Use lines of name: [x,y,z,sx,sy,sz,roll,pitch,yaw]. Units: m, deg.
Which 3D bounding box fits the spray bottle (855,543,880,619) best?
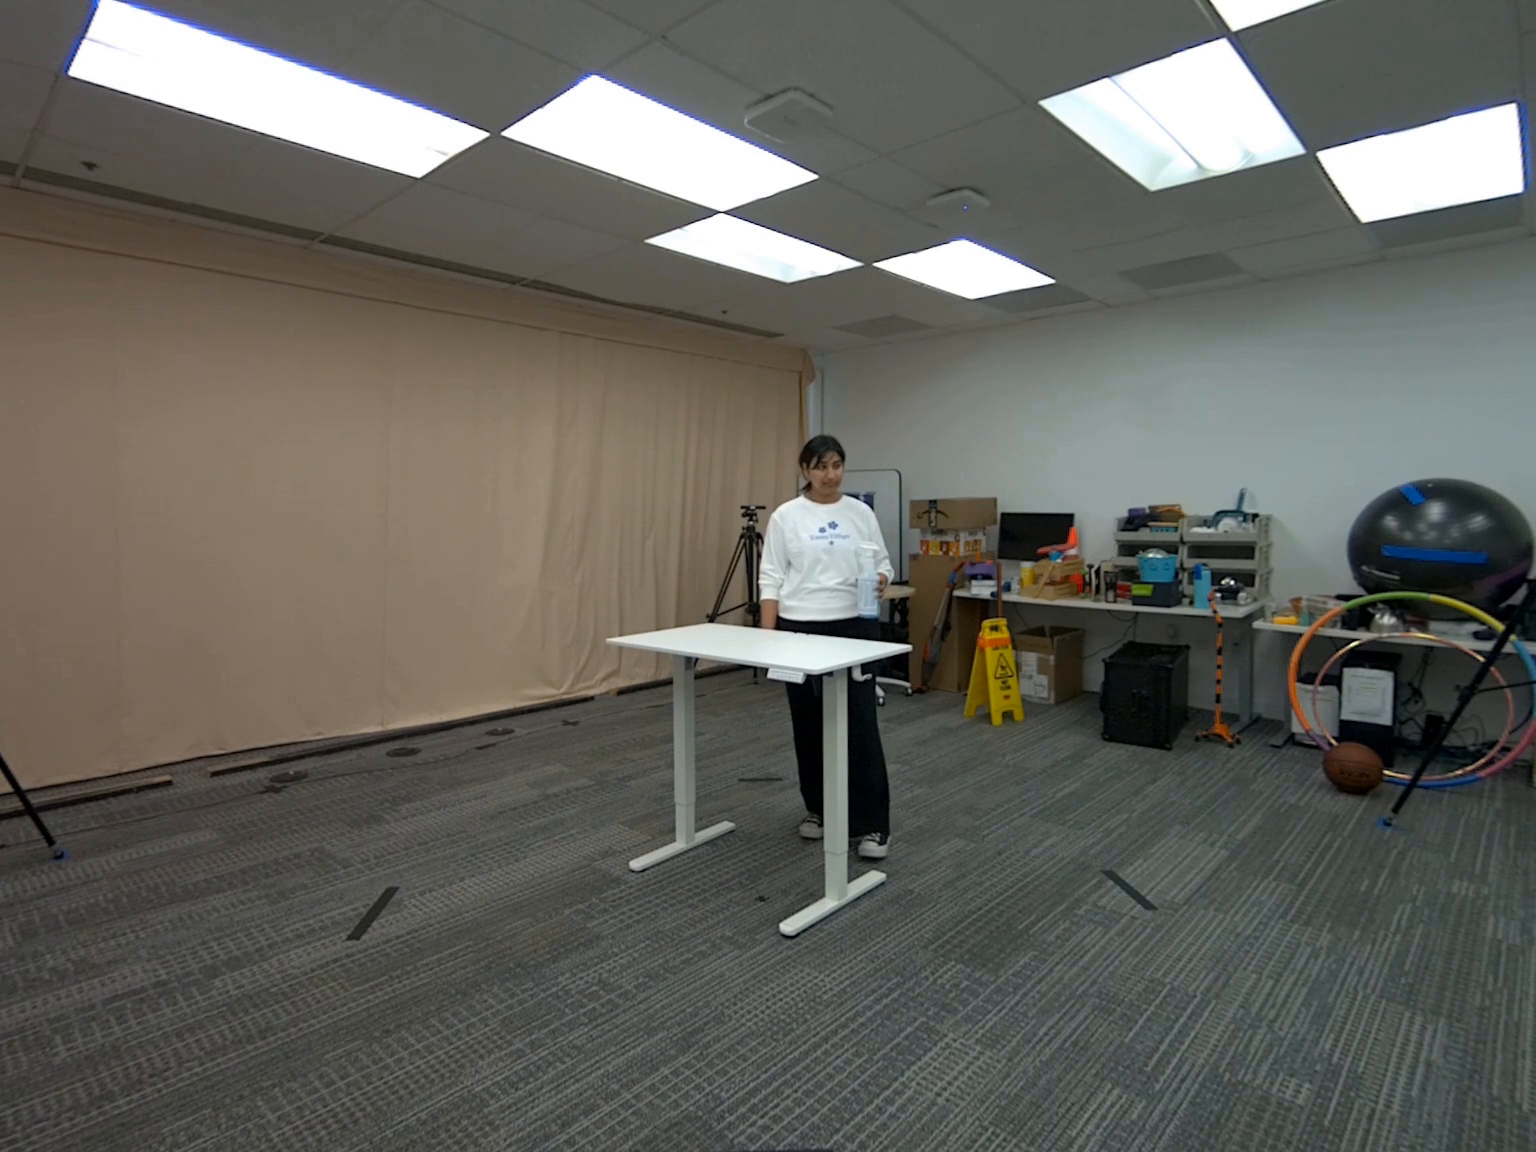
spray bottle: [0.394,0.014,3.309,0.093,0.297,0.084,-2,1,39]
